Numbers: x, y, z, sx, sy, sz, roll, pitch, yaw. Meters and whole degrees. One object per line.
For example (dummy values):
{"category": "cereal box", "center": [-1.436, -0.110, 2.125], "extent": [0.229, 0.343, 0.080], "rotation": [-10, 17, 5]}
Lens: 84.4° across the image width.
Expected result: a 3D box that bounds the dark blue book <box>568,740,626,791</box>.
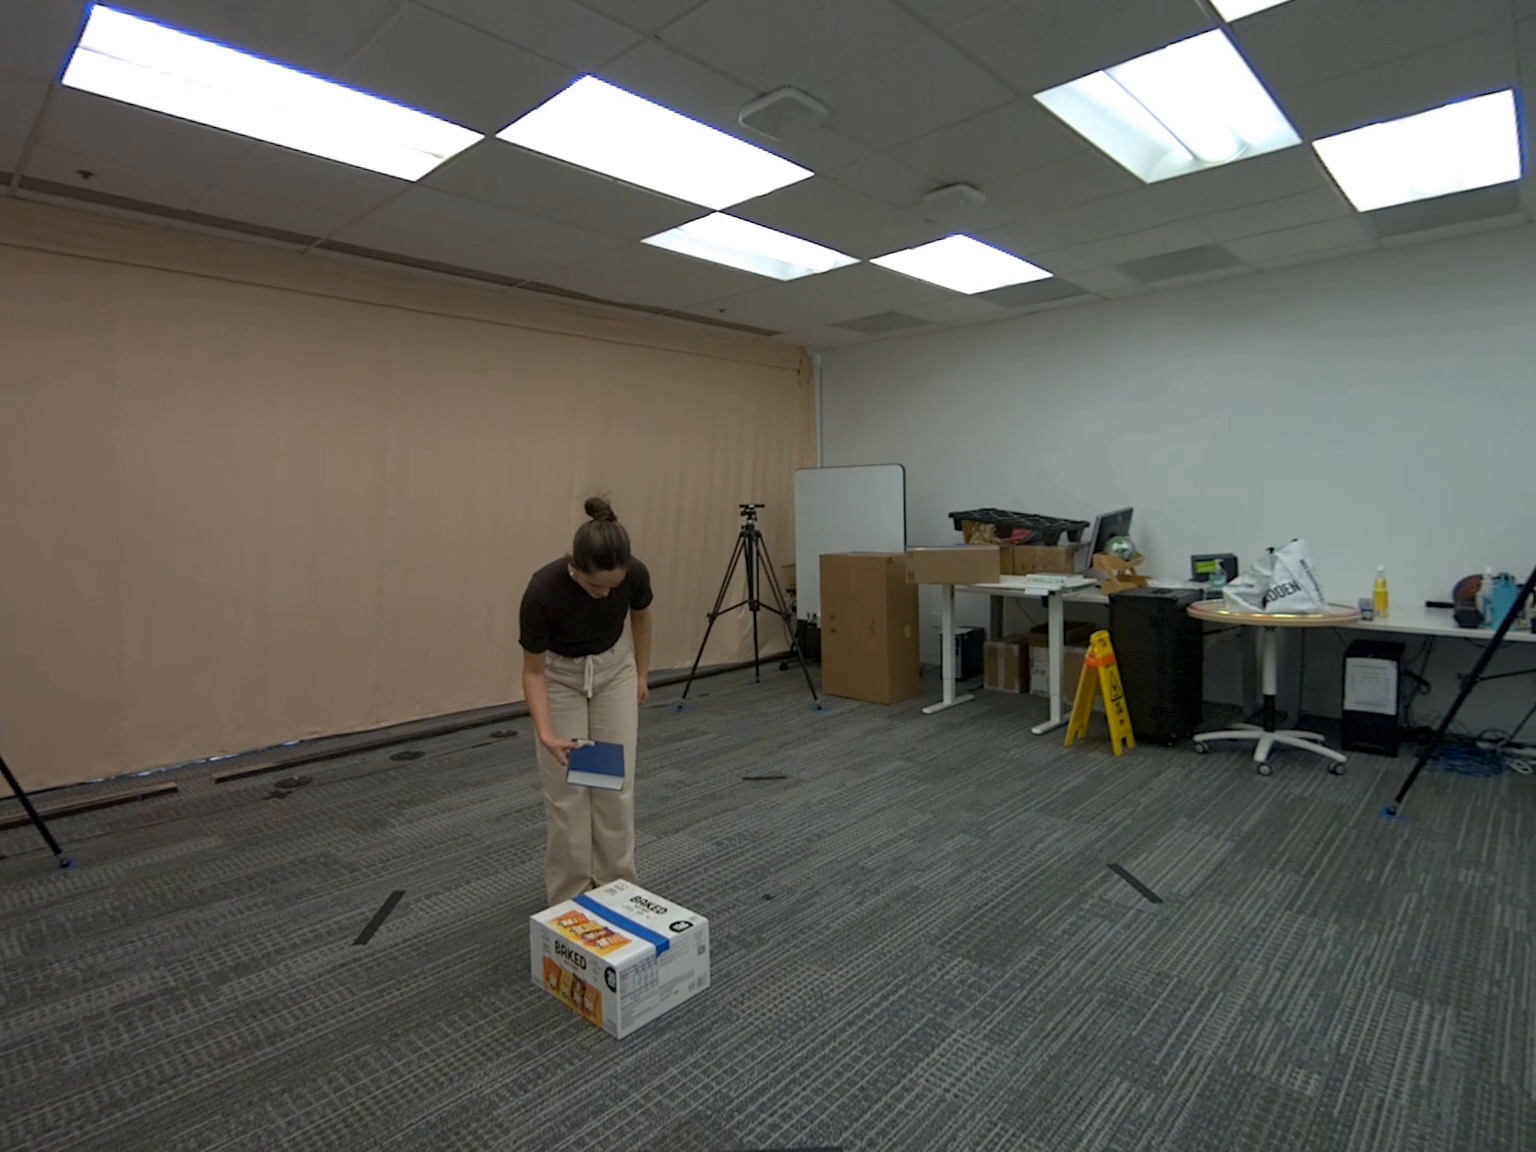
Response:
{"category": "dark blue book", "center": [-0.491, 0.550, 2.481], "extent": [0.162, 0.045, 0.248], "rotation": [9, 7, -8]}
